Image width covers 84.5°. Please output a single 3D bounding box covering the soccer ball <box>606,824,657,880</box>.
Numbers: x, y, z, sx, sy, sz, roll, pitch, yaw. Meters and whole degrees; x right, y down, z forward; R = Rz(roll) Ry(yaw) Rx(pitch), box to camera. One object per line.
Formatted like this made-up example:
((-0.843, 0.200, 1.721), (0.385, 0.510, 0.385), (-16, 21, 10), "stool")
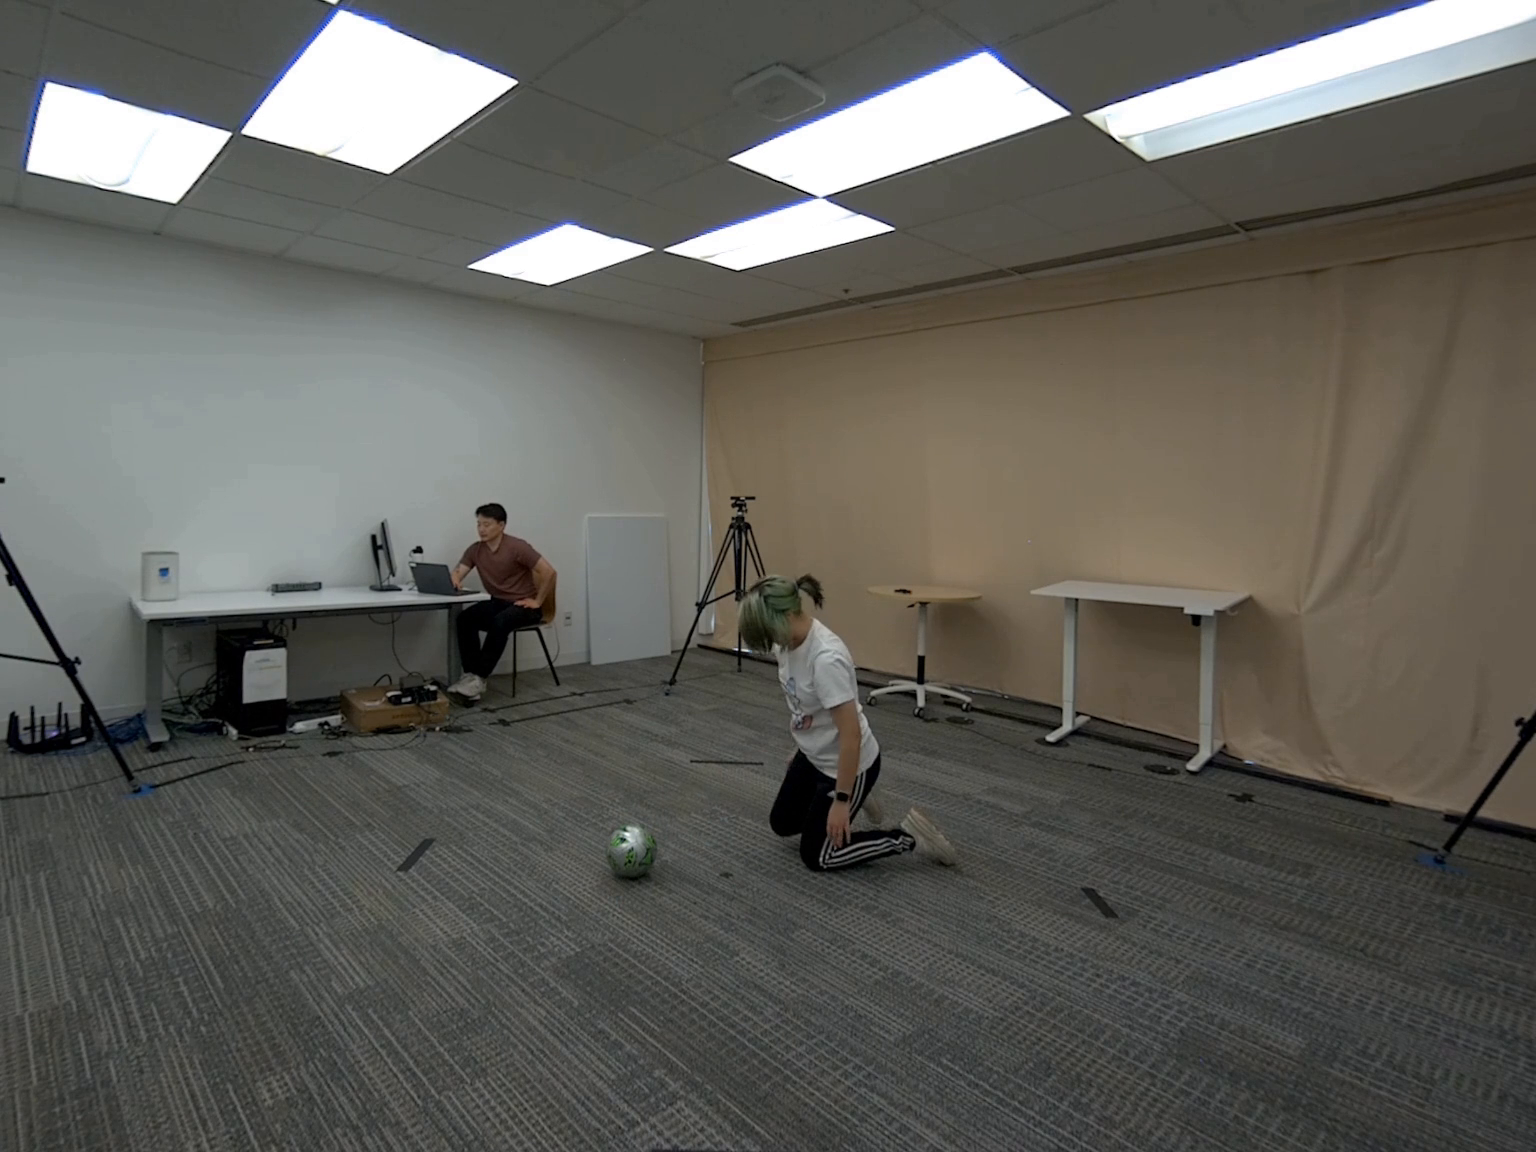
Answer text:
((-0.502, 1.002, 3.081), (0.187, 0.187, 0.188), (1, 4, -1), "soccer ball")
